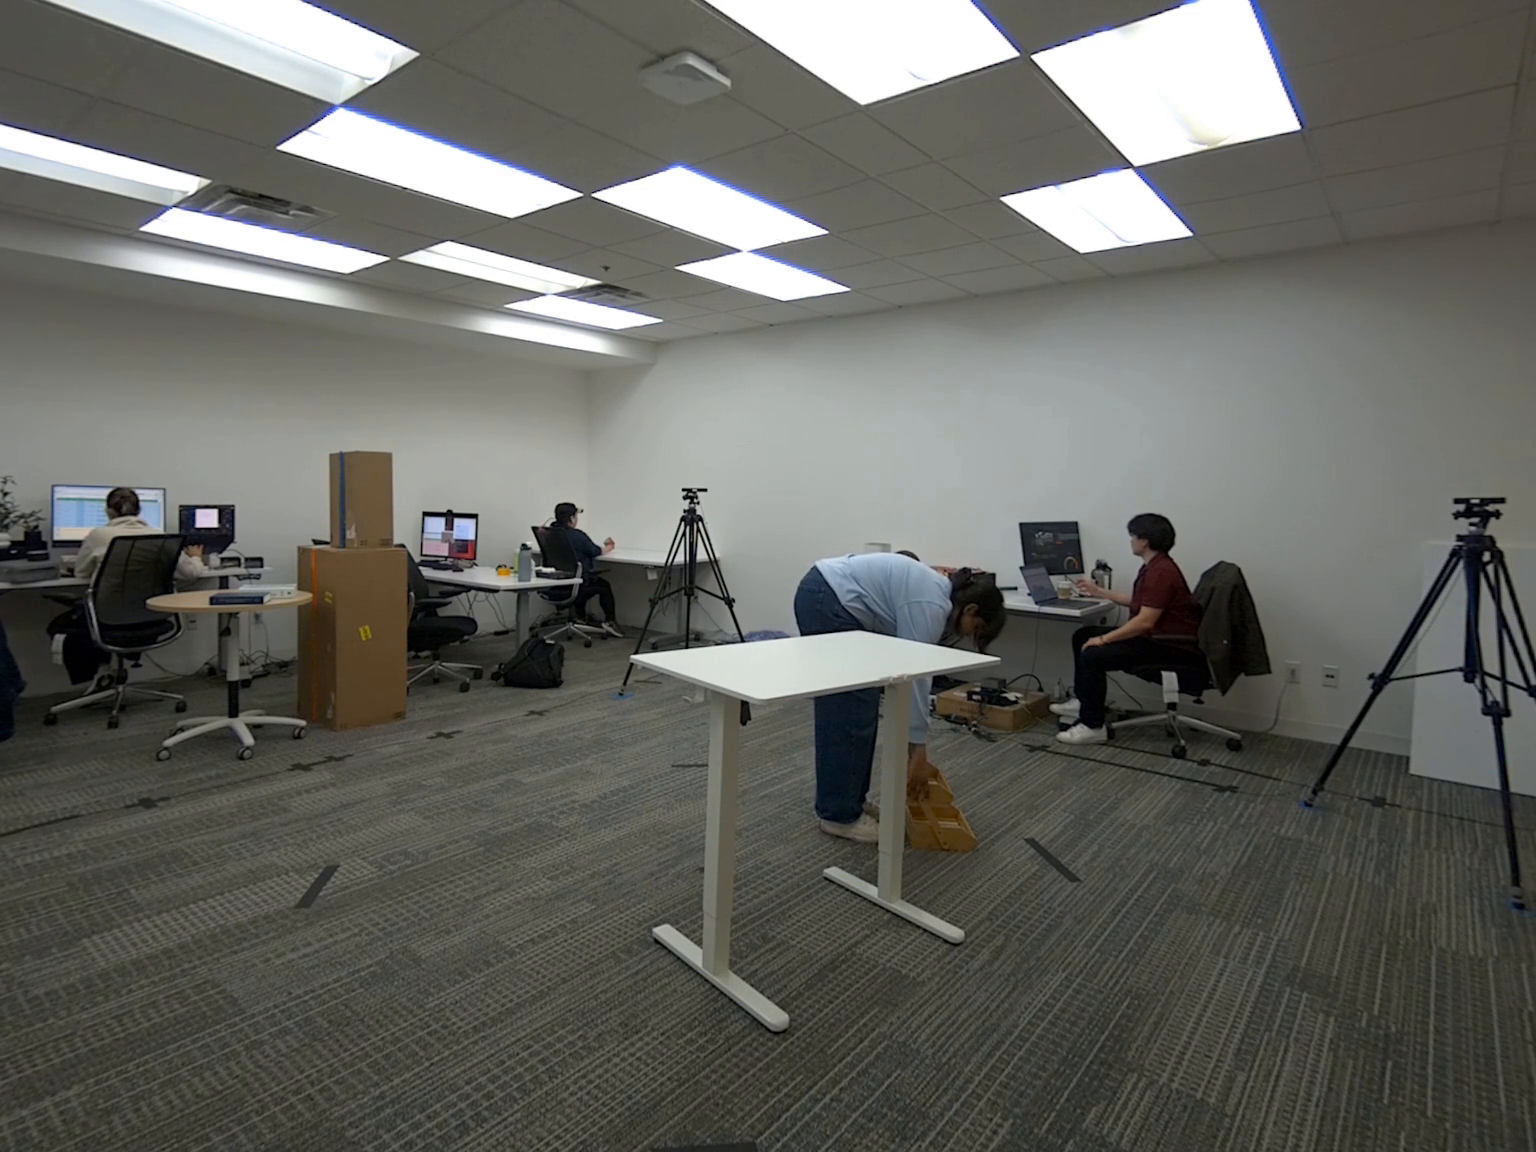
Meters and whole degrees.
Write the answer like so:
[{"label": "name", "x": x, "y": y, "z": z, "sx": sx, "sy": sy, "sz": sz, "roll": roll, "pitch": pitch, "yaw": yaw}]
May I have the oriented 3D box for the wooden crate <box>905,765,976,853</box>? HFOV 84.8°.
[{"label": "wooden crate", "x": 0.669, "y": 0.922, "z": 3.482, "sx": 0.303, "sy": 0.272, "sz": 0.325, "roll": 1, "pitch": 4, "yaw": 2}]
